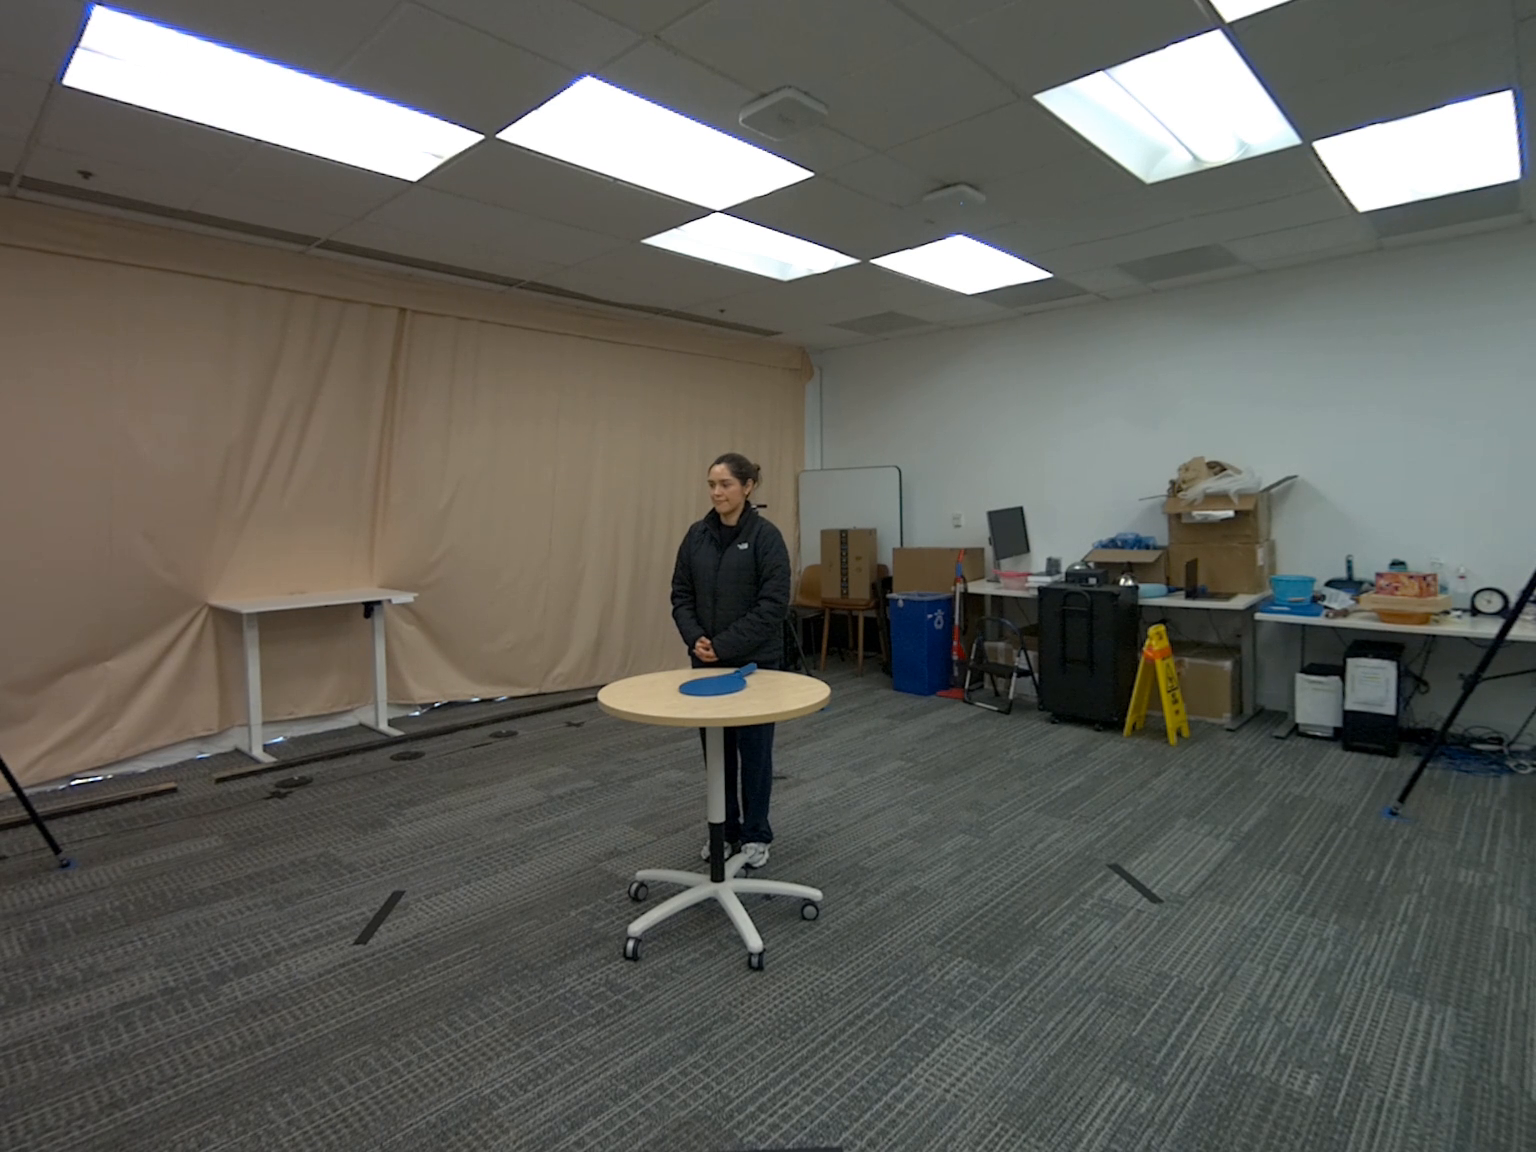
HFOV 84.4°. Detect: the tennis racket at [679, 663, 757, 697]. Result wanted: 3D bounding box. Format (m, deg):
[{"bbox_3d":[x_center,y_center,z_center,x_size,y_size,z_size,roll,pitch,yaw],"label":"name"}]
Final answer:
[{"bbox_3d":[-0.143,0.359,2.886,0.220,0.031,0.422,3,7,29],"label":"tennis racket"}]
